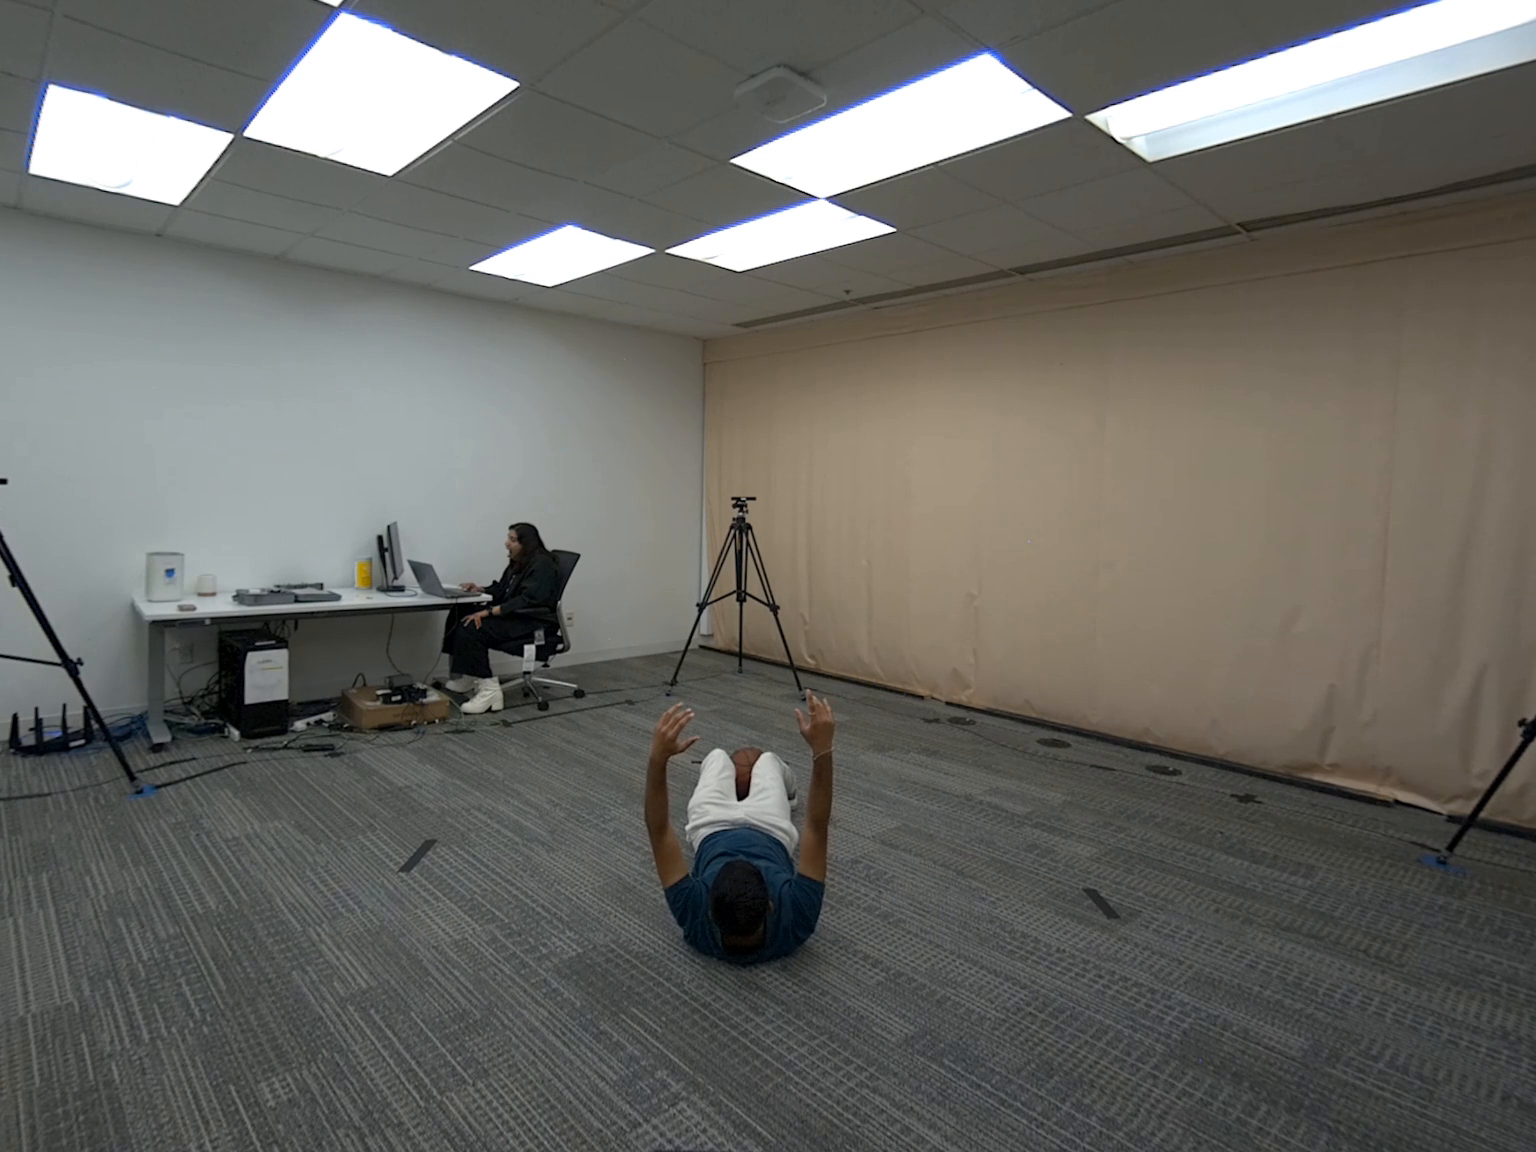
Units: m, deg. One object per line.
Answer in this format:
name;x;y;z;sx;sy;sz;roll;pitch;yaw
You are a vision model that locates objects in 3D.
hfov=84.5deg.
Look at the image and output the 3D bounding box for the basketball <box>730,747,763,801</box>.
basketball;-0.093;0.921;3.910;0.236;0.235;0.237;1;4;-1
